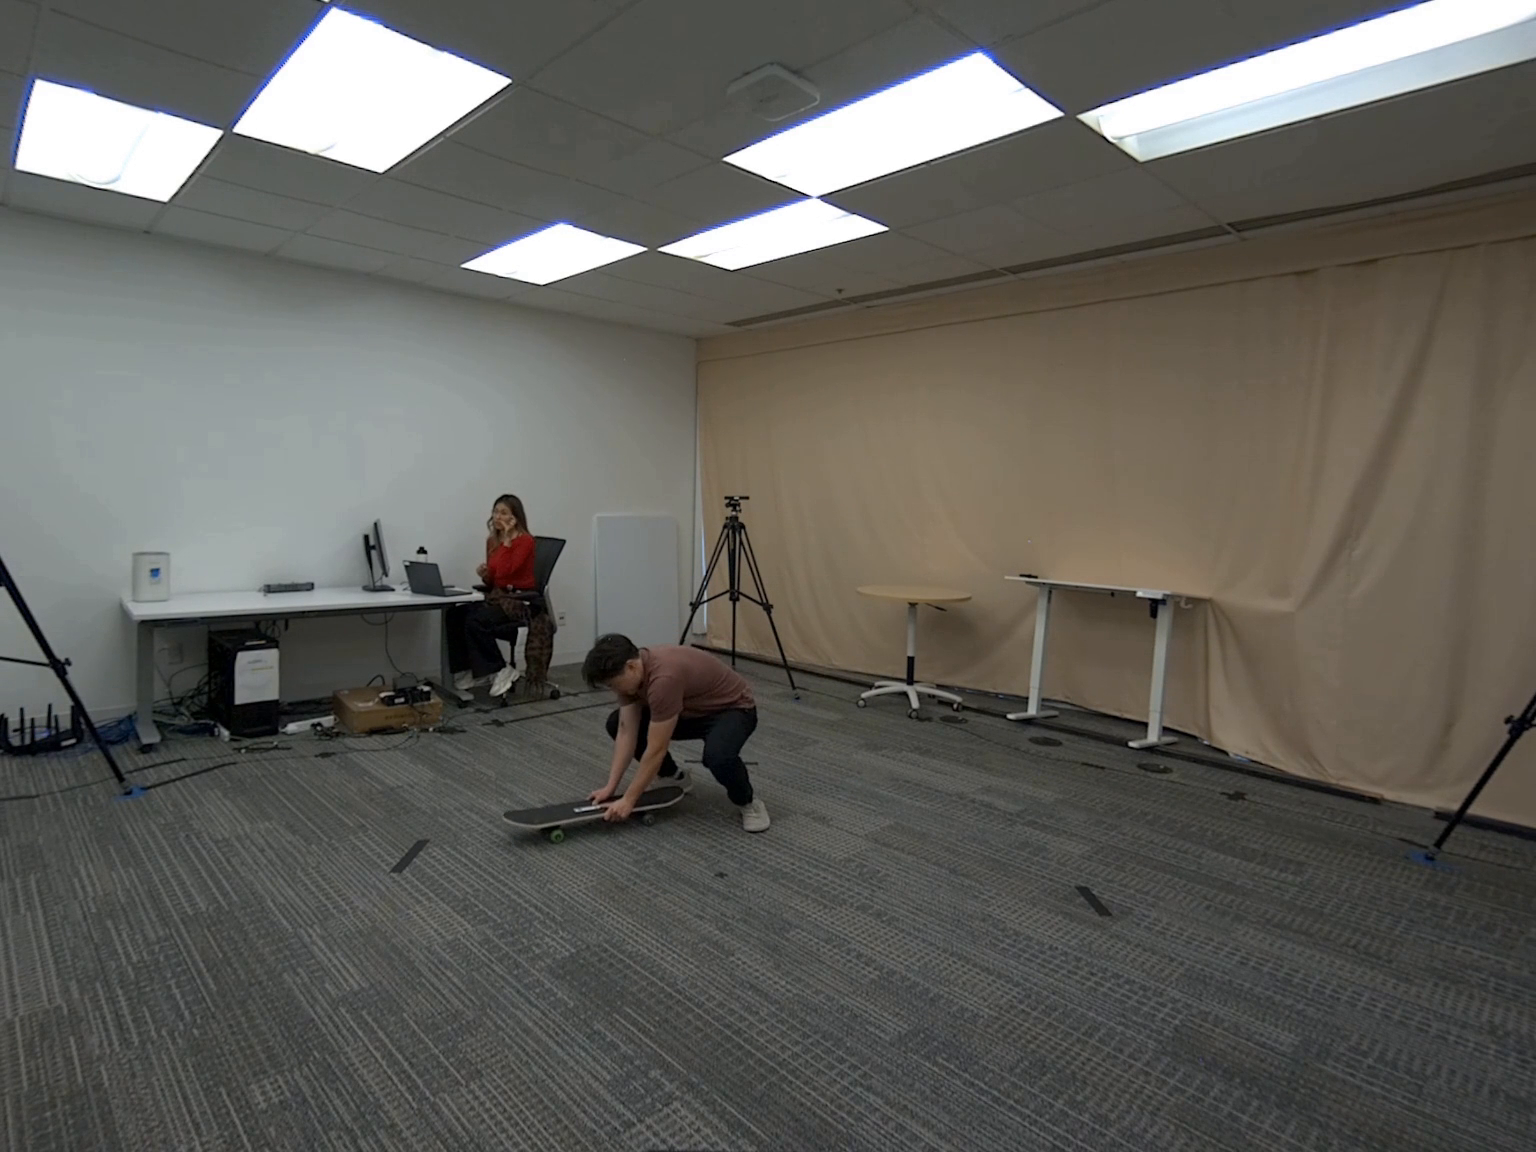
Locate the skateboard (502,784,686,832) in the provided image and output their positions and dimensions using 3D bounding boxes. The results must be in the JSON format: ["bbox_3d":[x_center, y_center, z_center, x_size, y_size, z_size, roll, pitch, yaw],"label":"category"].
[{"bbox_3d":[-0.714,1.000,3.526,0.769,0.110,0.198,-1,5,-30],"label":"skateboard"}]
